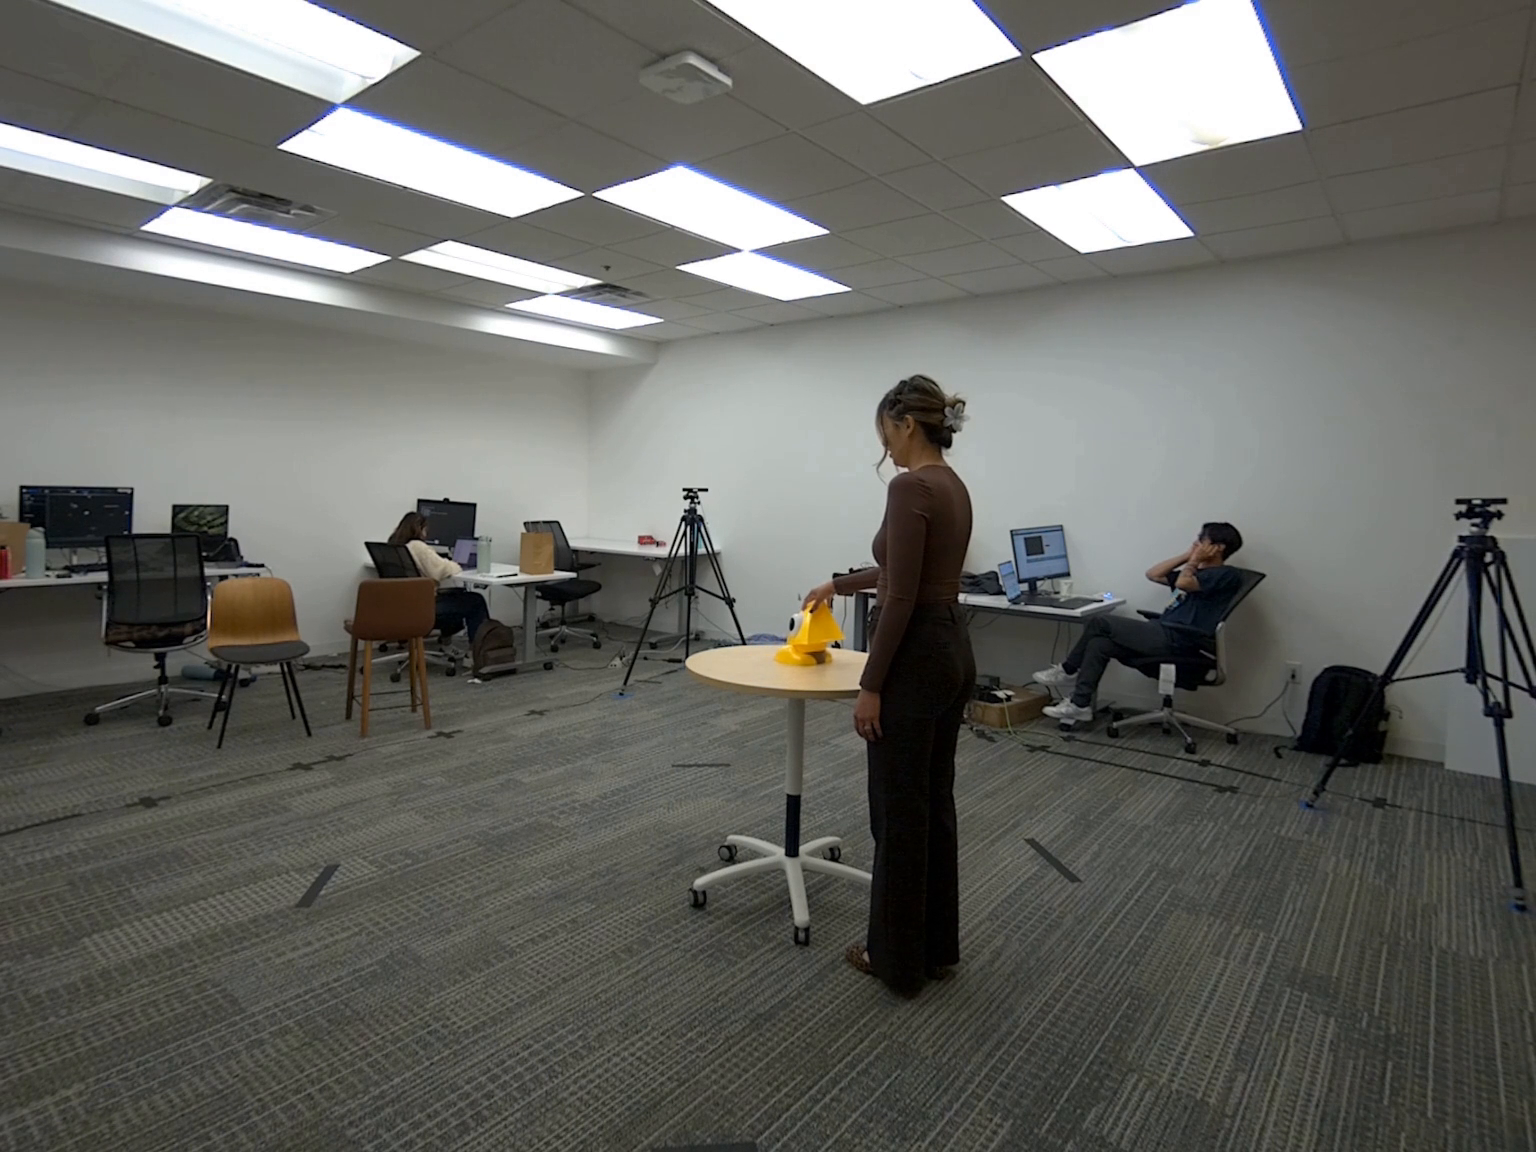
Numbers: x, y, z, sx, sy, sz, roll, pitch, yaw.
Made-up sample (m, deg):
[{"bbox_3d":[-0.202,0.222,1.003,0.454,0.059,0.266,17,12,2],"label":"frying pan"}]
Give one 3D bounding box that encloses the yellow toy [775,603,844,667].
[{"bbox_3d":[0.130,0.179,2.973,0.198,0.230,0.199,-1,4,-44],"label":"yellow toy"}]
